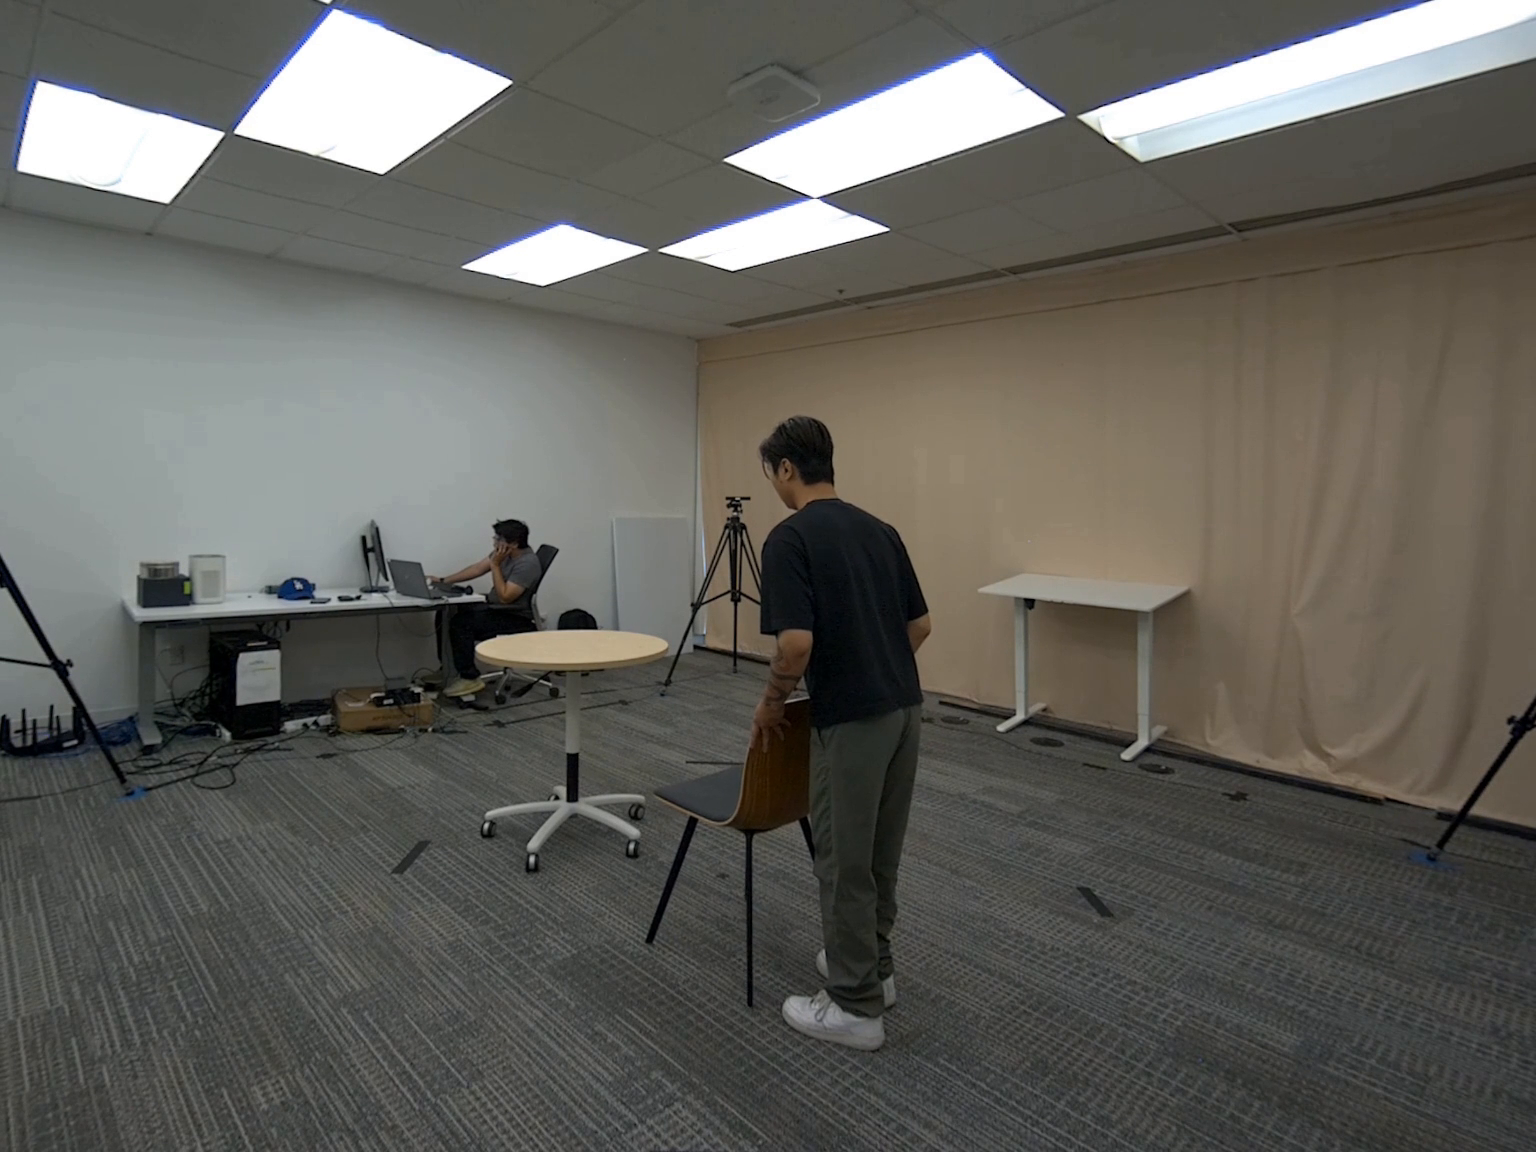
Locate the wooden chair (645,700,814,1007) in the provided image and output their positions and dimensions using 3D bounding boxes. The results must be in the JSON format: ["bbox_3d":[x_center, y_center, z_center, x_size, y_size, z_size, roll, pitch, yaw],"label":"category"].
[{"bbox_3d":[-0.063,0.726,2.594,0.537,0.873,0.467,11,10,43],"label":"wooden chair"}]
